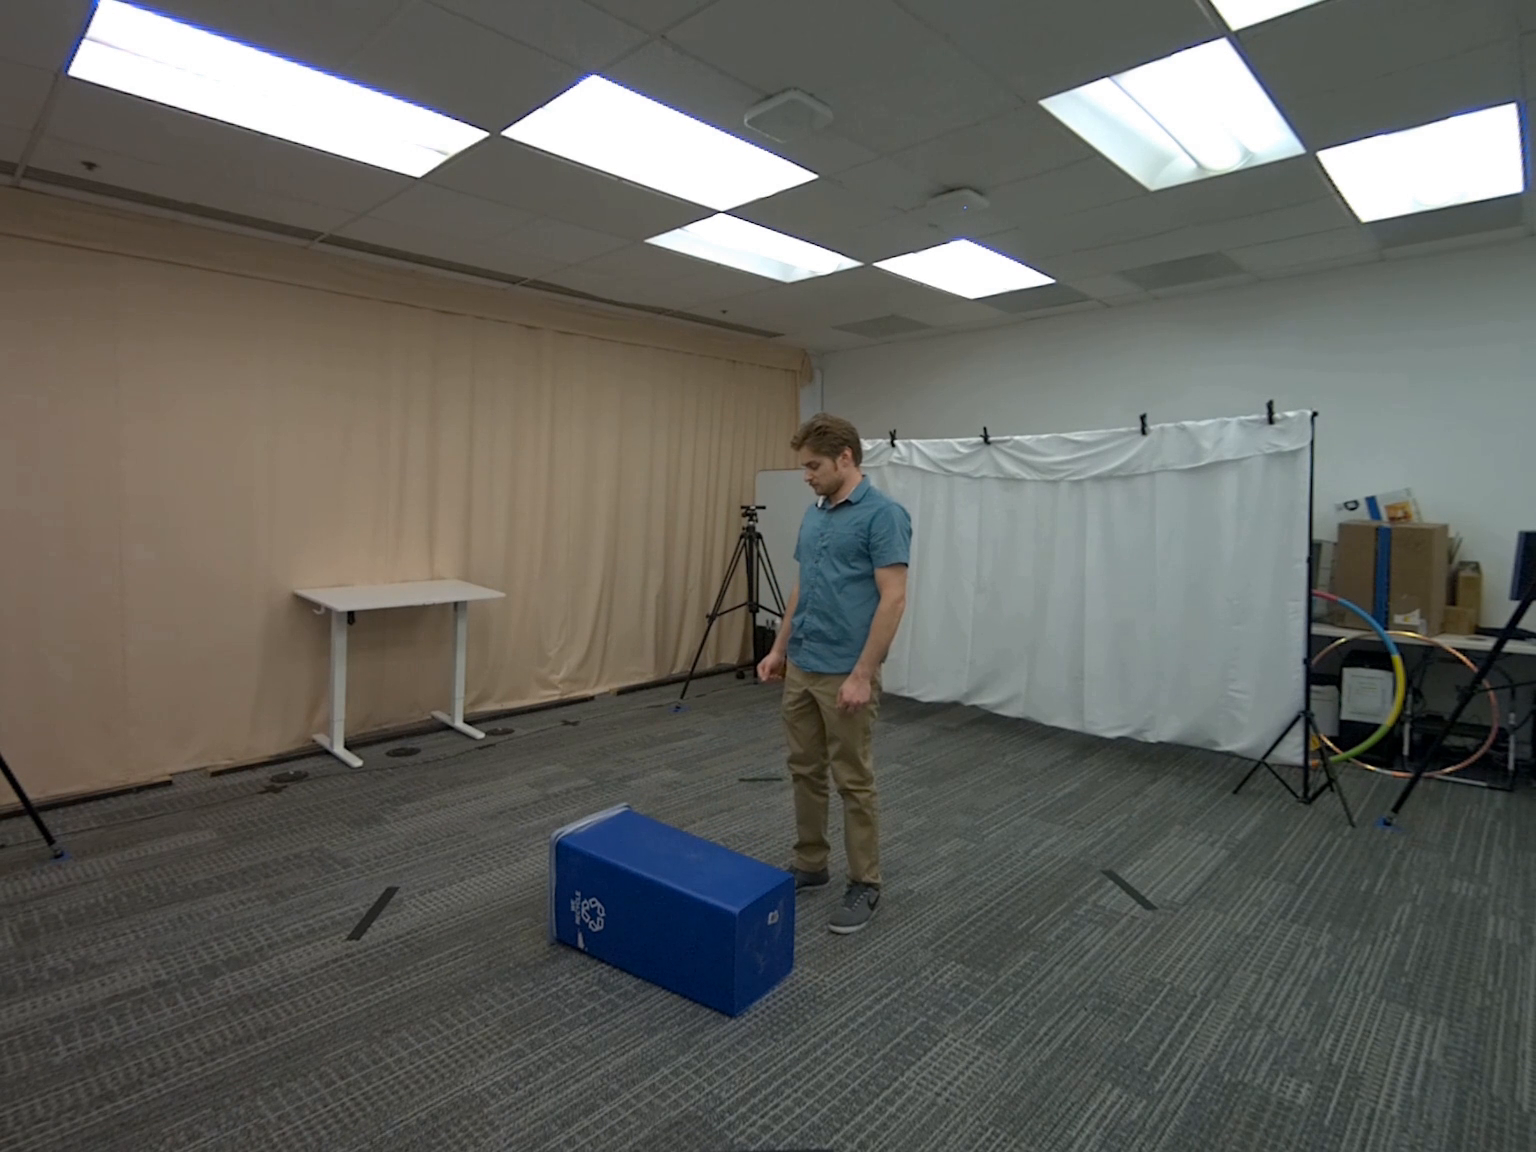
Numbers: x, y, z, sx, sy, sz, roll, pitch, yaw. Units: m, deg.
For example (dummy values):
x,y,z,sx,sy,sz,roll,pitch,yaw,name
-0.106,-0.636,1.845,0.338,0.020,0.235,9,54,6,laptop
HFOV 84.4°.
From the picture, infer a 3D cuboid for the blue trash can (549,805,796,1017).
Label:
x,y,z,sx,sy,sz,roll,pitch,yaw,name
-0.295,1.014,2.602,0.737,0.377,0.363,6,6,35,blue trash can
